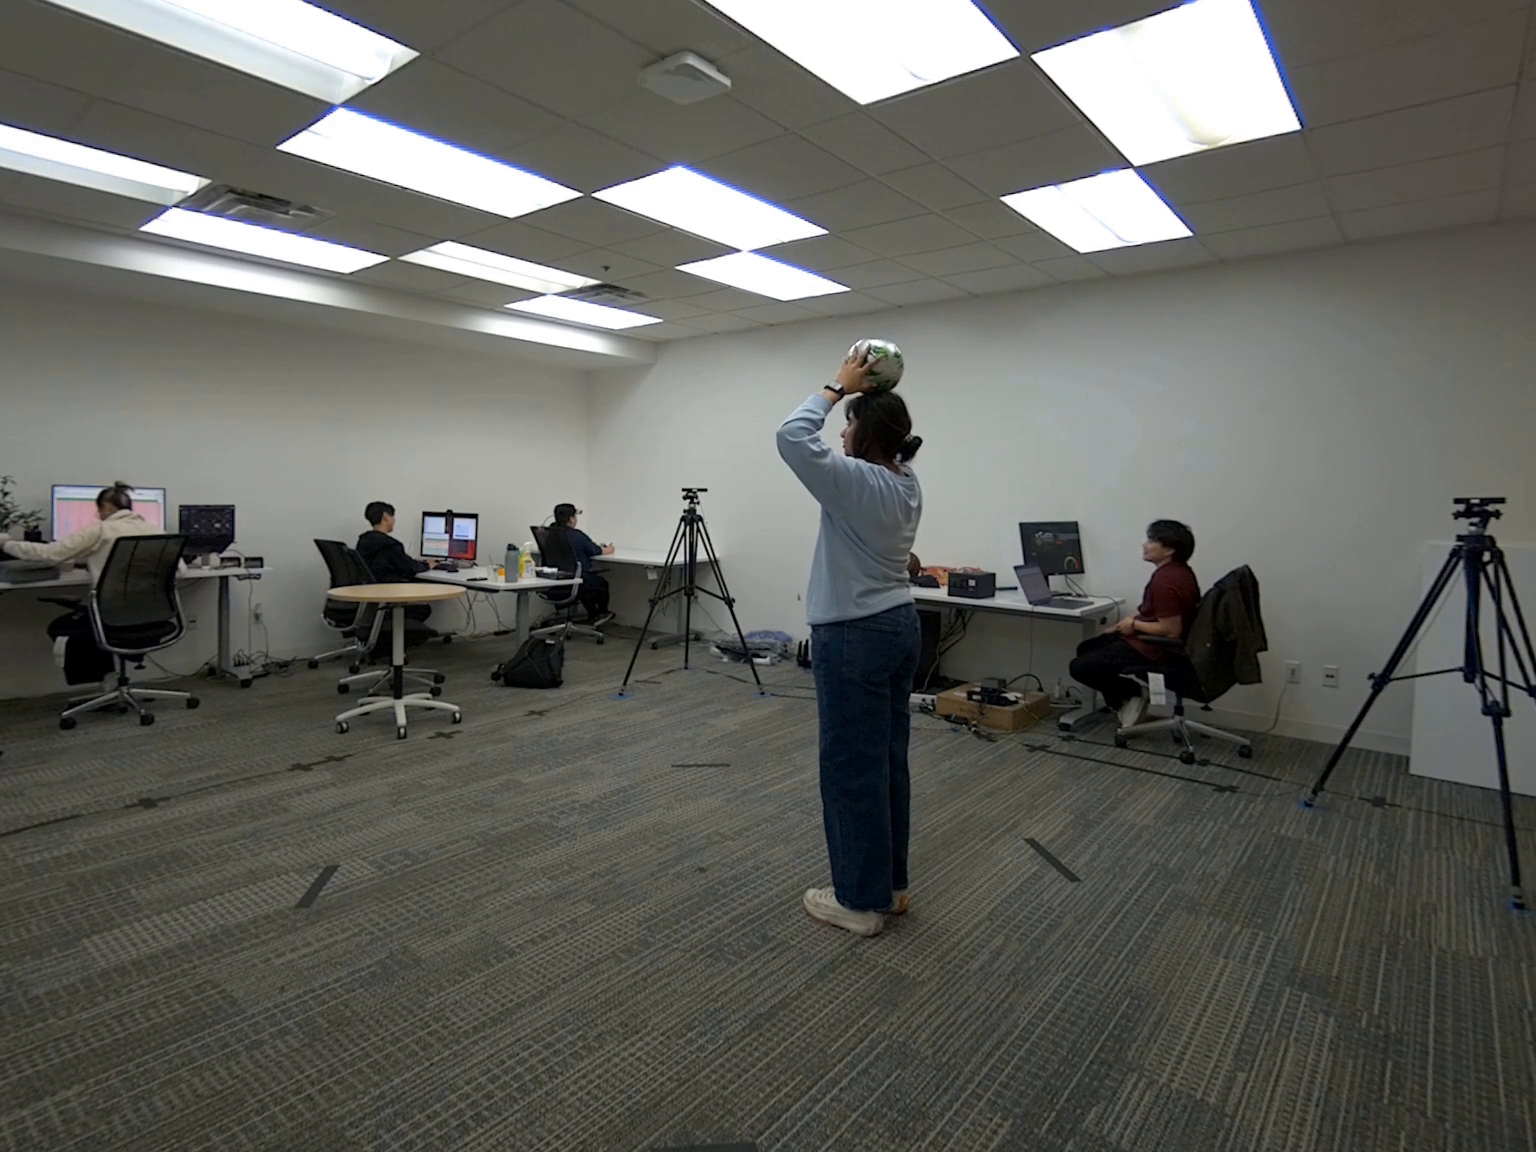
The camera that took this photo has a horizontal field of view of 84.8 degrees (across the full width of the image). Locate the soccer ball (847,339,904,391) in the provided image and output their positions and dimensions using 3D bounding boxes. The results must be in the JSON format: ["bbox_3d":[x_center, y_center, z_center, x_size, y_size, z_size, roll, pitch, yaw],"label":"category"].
[{"bbox_3d":[0.330,-0.671,2.723,0.187,0.187,0.188,1,4,-2],"label":"soccer ball"}]
